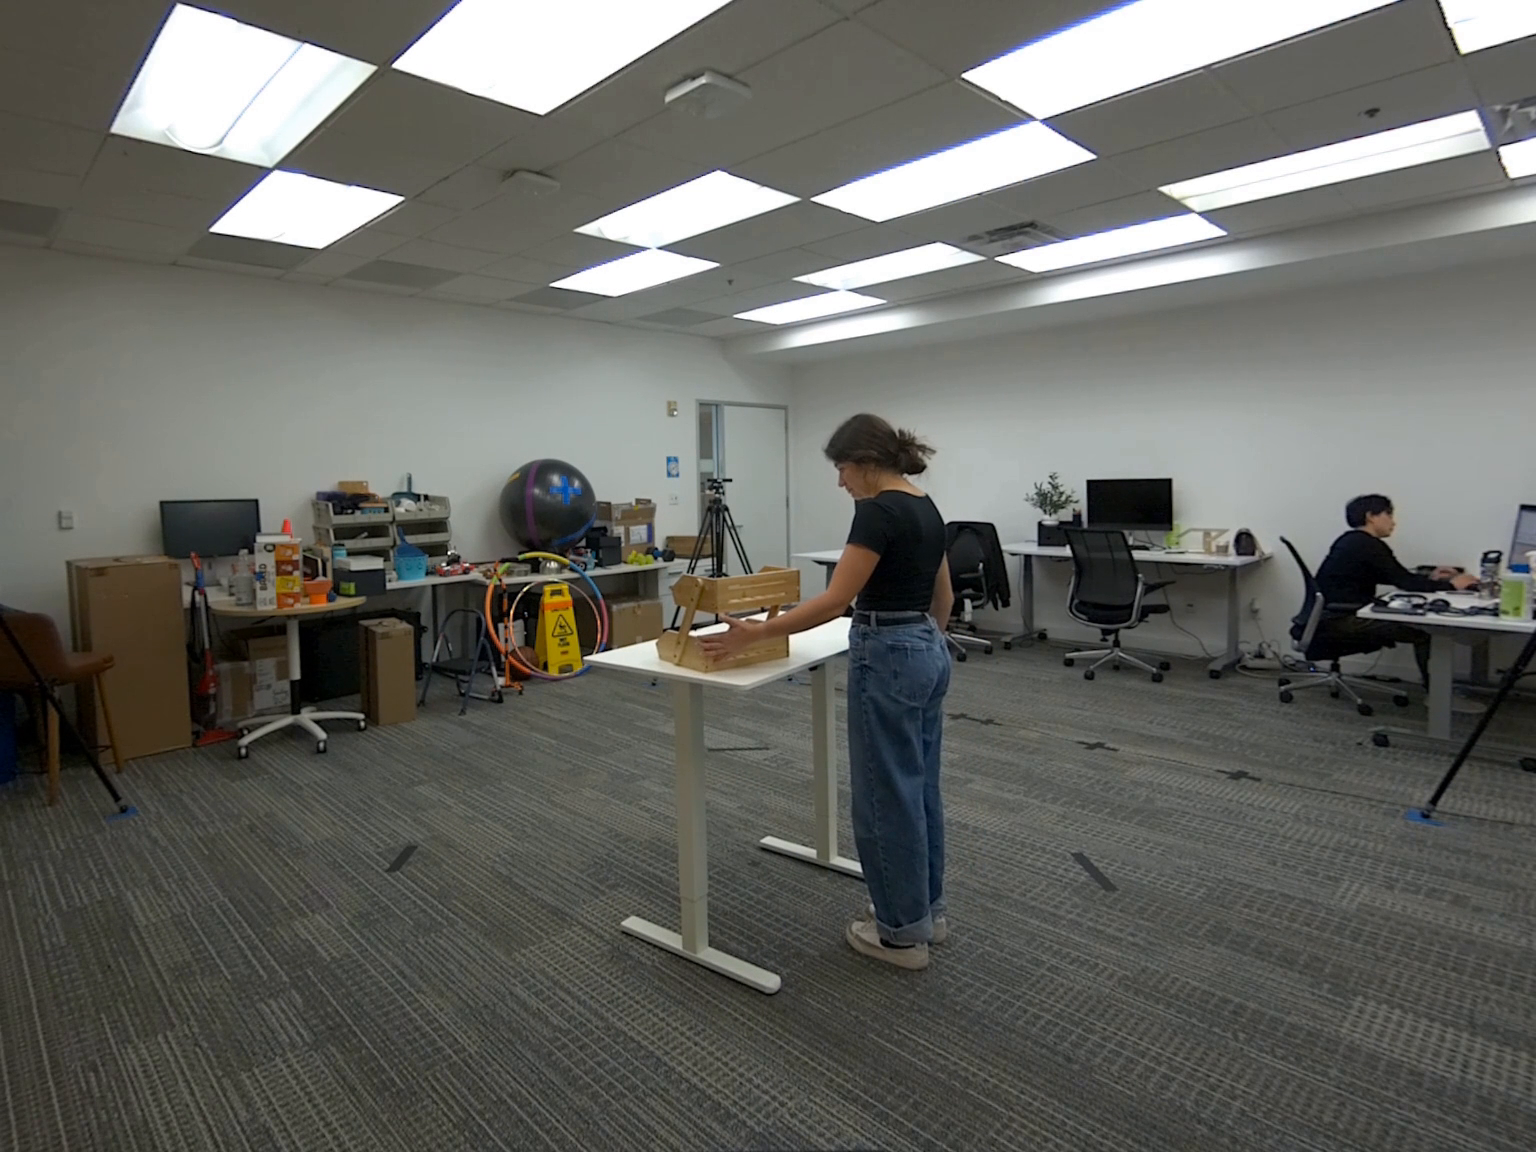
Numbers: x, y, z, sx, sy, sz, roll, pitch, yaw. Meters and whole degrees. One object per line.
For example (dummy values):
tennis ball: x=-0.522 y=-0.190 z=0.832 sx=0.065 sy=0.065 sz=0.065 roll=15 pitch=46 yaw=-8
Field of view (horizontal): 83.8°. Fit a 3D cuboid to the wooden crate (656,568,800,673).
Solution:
wooden crate: x=-0.111 y=0.107 z=2.452 sx=0.316 sy=0.272 sz=0.311 roll=-6 pitch=8 yaw=-38
